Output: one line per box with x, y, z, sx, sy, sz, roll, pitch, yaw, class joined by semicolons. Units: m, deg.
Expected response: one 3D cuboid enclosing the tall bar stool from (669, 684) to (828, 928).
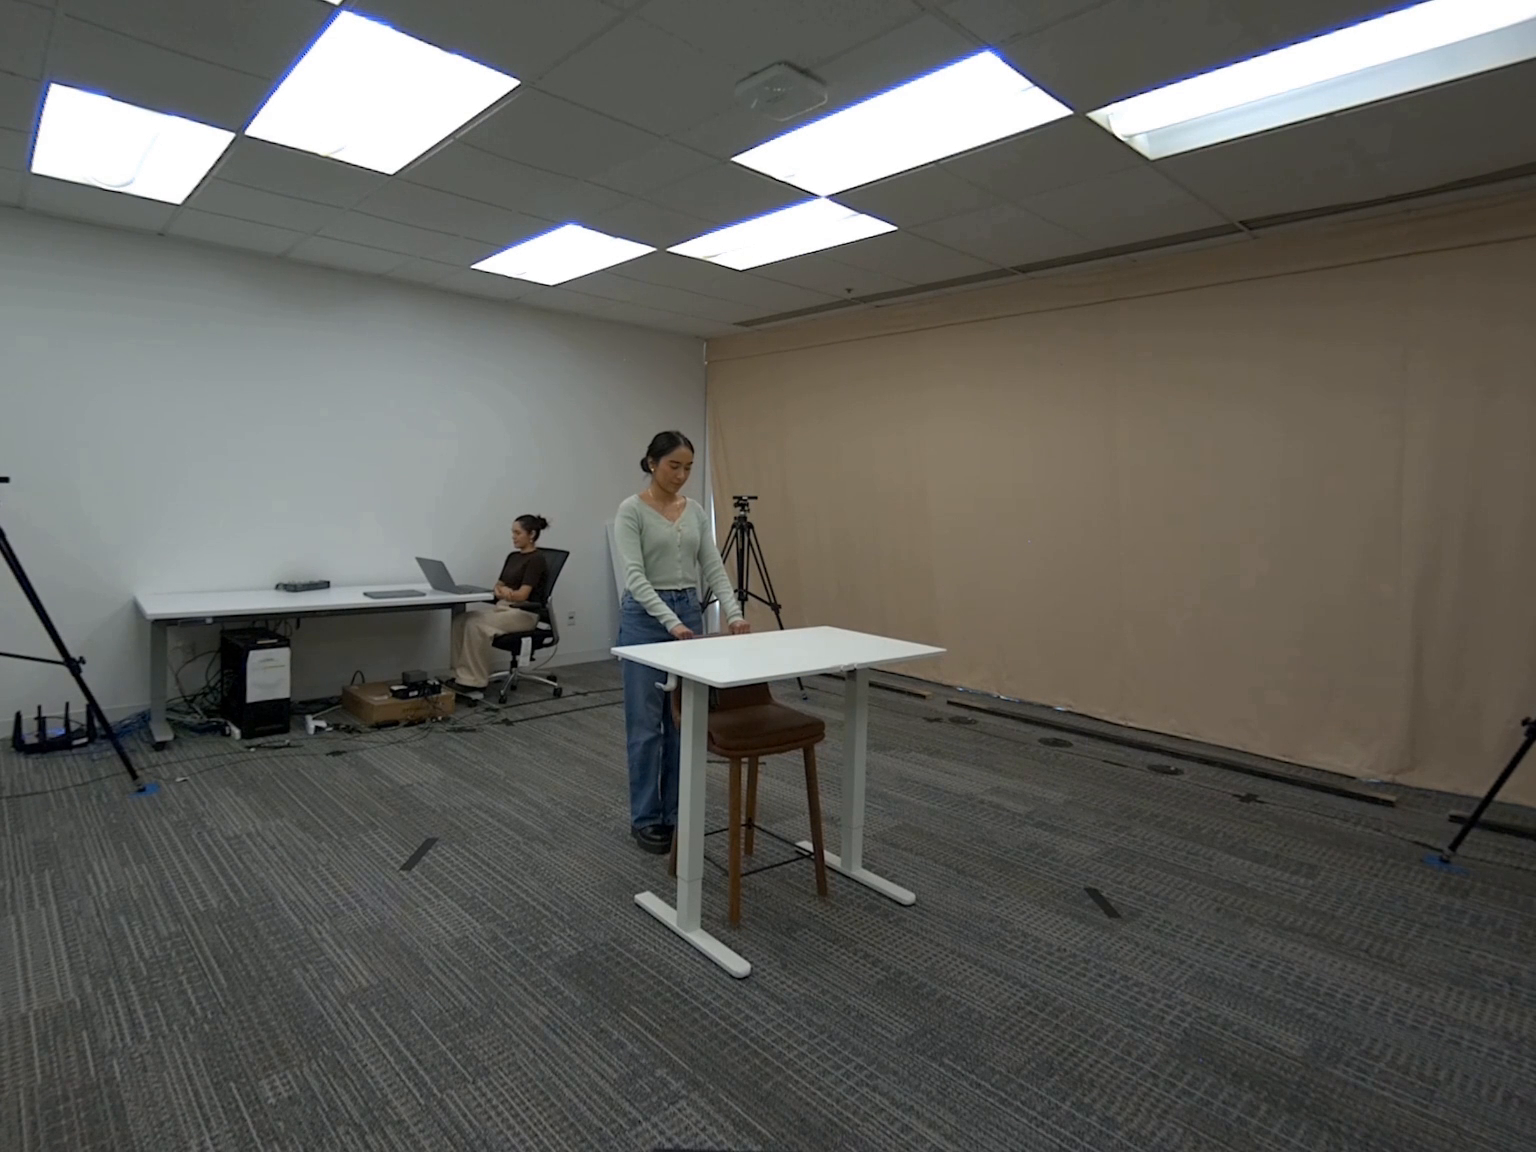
-0.087;0.679;3.003;0.446;0.889;0.478;-2;2;-35;tall bar stool
